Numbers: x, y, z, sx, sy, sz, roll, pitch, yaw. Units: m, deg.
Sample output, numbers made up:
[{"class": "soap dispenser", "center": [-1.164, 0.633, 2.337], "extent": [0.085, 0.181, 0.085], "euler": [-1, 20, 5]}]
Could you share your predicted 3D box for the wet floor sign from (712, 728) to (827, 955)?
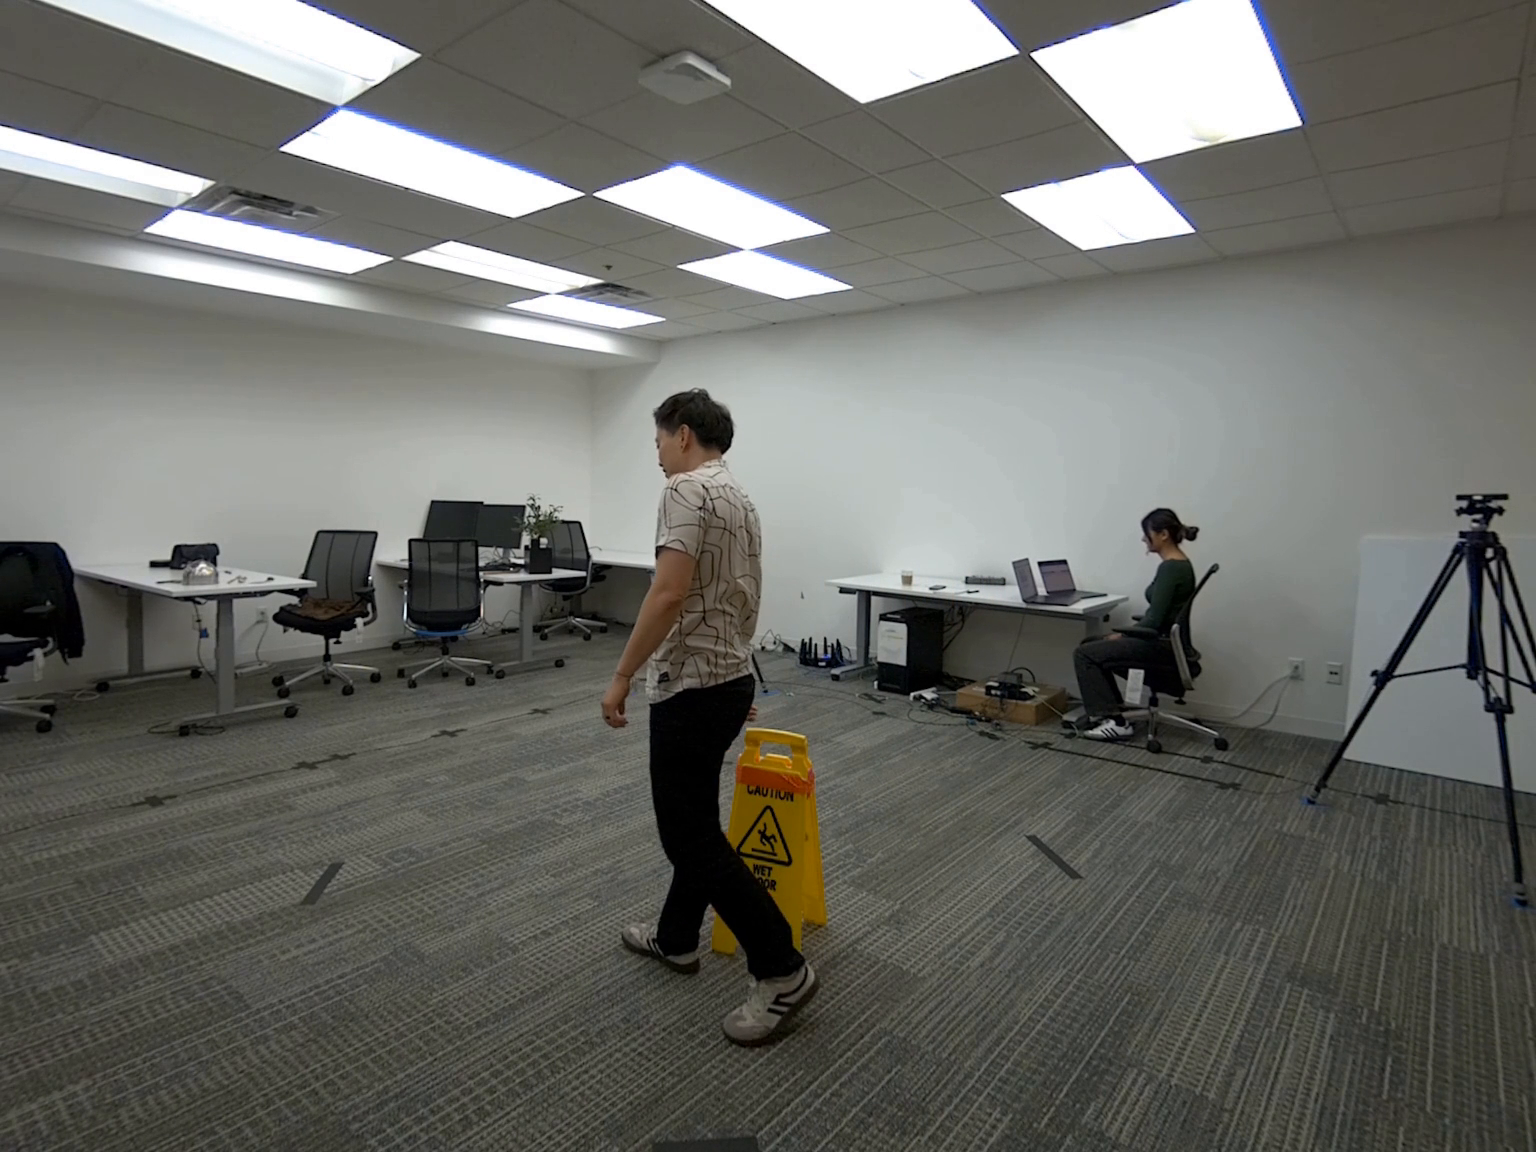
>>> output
[{"class": "wet floor sign", "center": [0.009, 0.792, 2.624], "extent": [0.289, 0.644, 0.283], "euler": [4, 3, 22]}]
